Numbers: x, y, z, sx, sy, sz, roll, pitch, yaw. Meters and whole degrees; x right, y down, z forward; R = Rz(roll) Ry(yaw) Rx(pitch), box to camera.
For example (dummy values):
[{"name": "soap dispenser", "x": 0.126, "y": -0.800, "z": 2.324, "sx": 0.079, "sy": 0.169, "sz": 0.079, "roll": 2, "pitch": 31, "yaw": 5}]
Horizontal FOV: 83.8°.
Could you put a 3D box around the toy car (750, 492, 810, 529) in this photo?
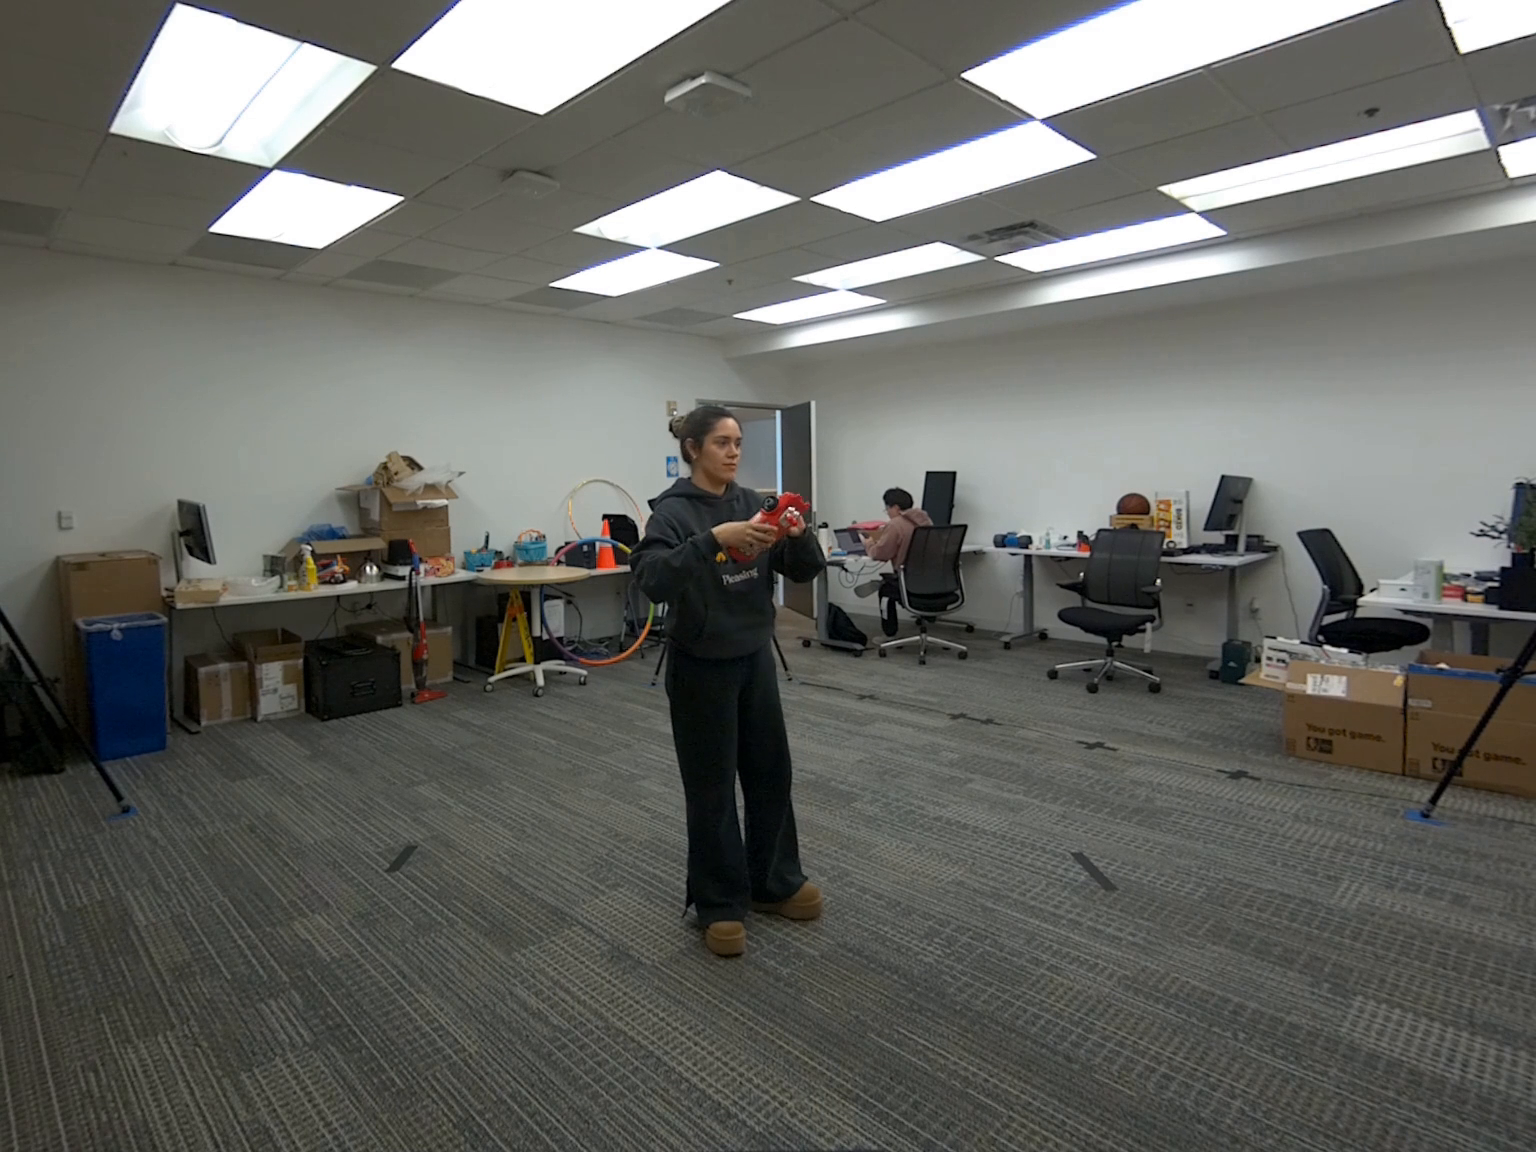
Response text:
[{"name": "toy car", "x": -0.006, "y": -0.149, "z": 2.349, "sx": 0.256, "sy": 0.086, "sz": 0.125, "roll": -32, "pitch": -36, "yaw": 15}]
